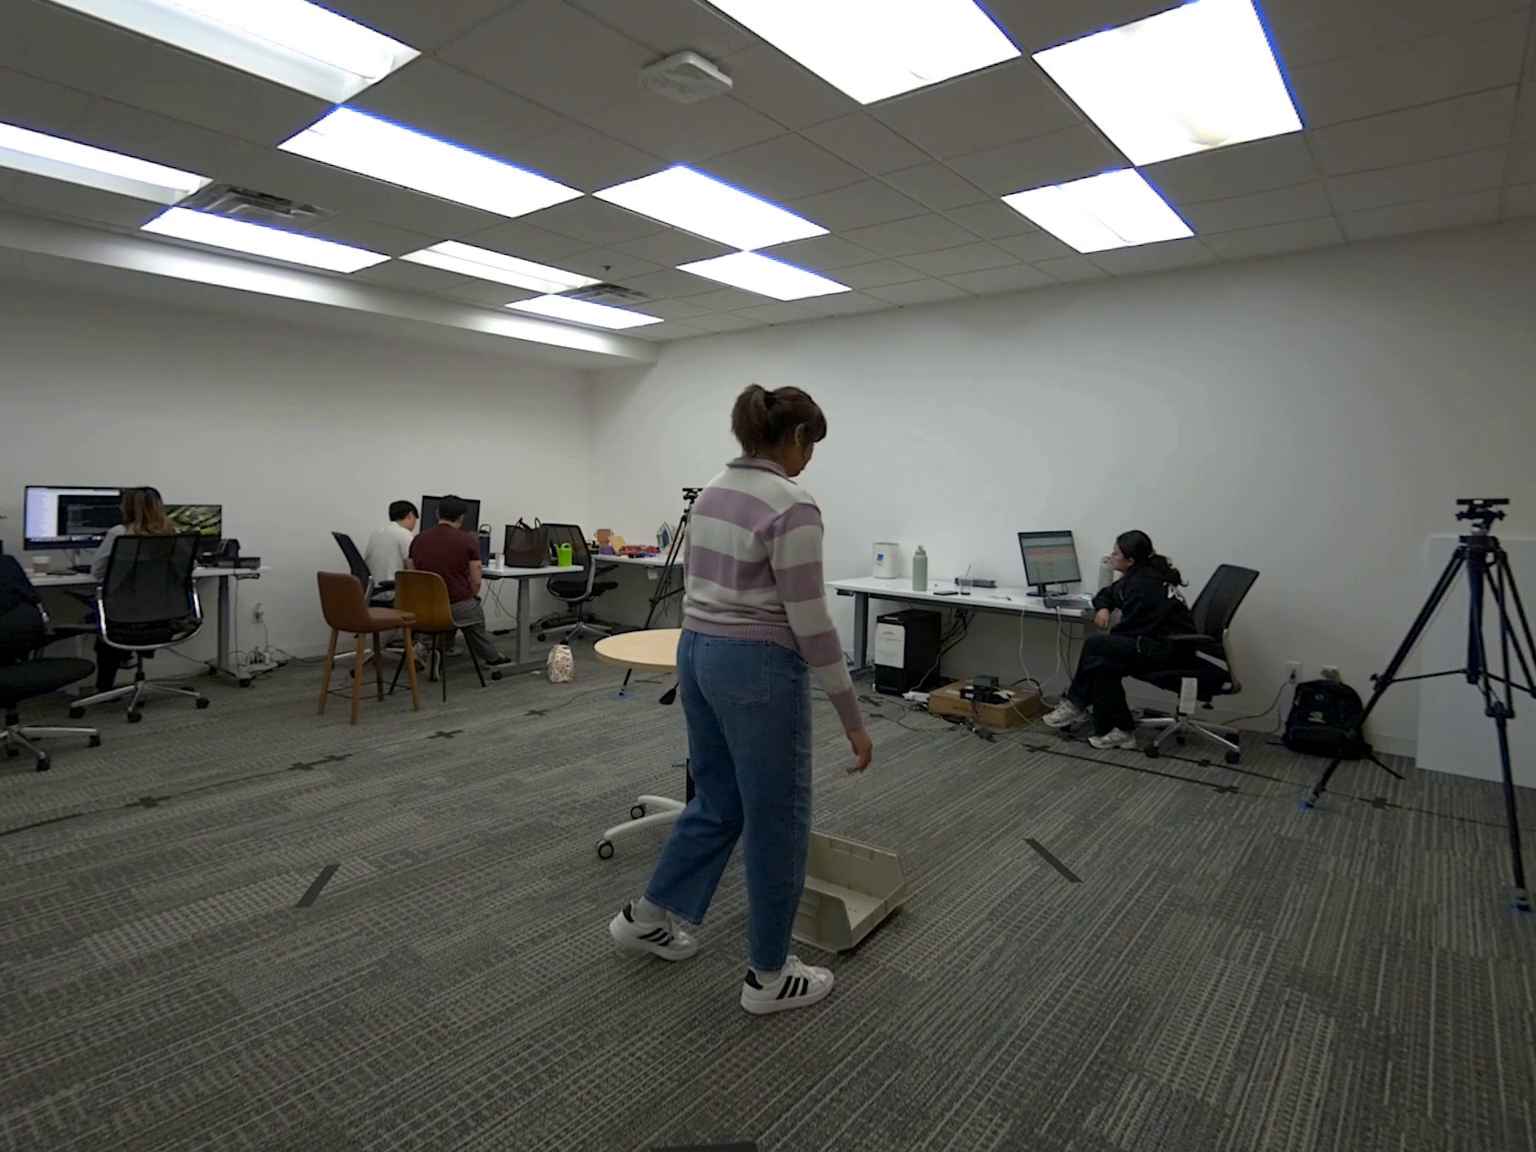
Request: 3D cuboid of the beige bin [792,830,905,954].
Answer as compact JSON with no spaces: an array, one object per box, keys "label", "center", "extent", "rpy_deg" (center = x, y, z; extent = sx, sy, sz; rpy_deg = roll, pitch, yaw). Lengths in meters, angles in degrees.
[{"label":"beige bin","center":[0.193,1.020,2.787],"extent":[0.389,0.188,0.411],"rpy_deg":[3,5,34]}]
